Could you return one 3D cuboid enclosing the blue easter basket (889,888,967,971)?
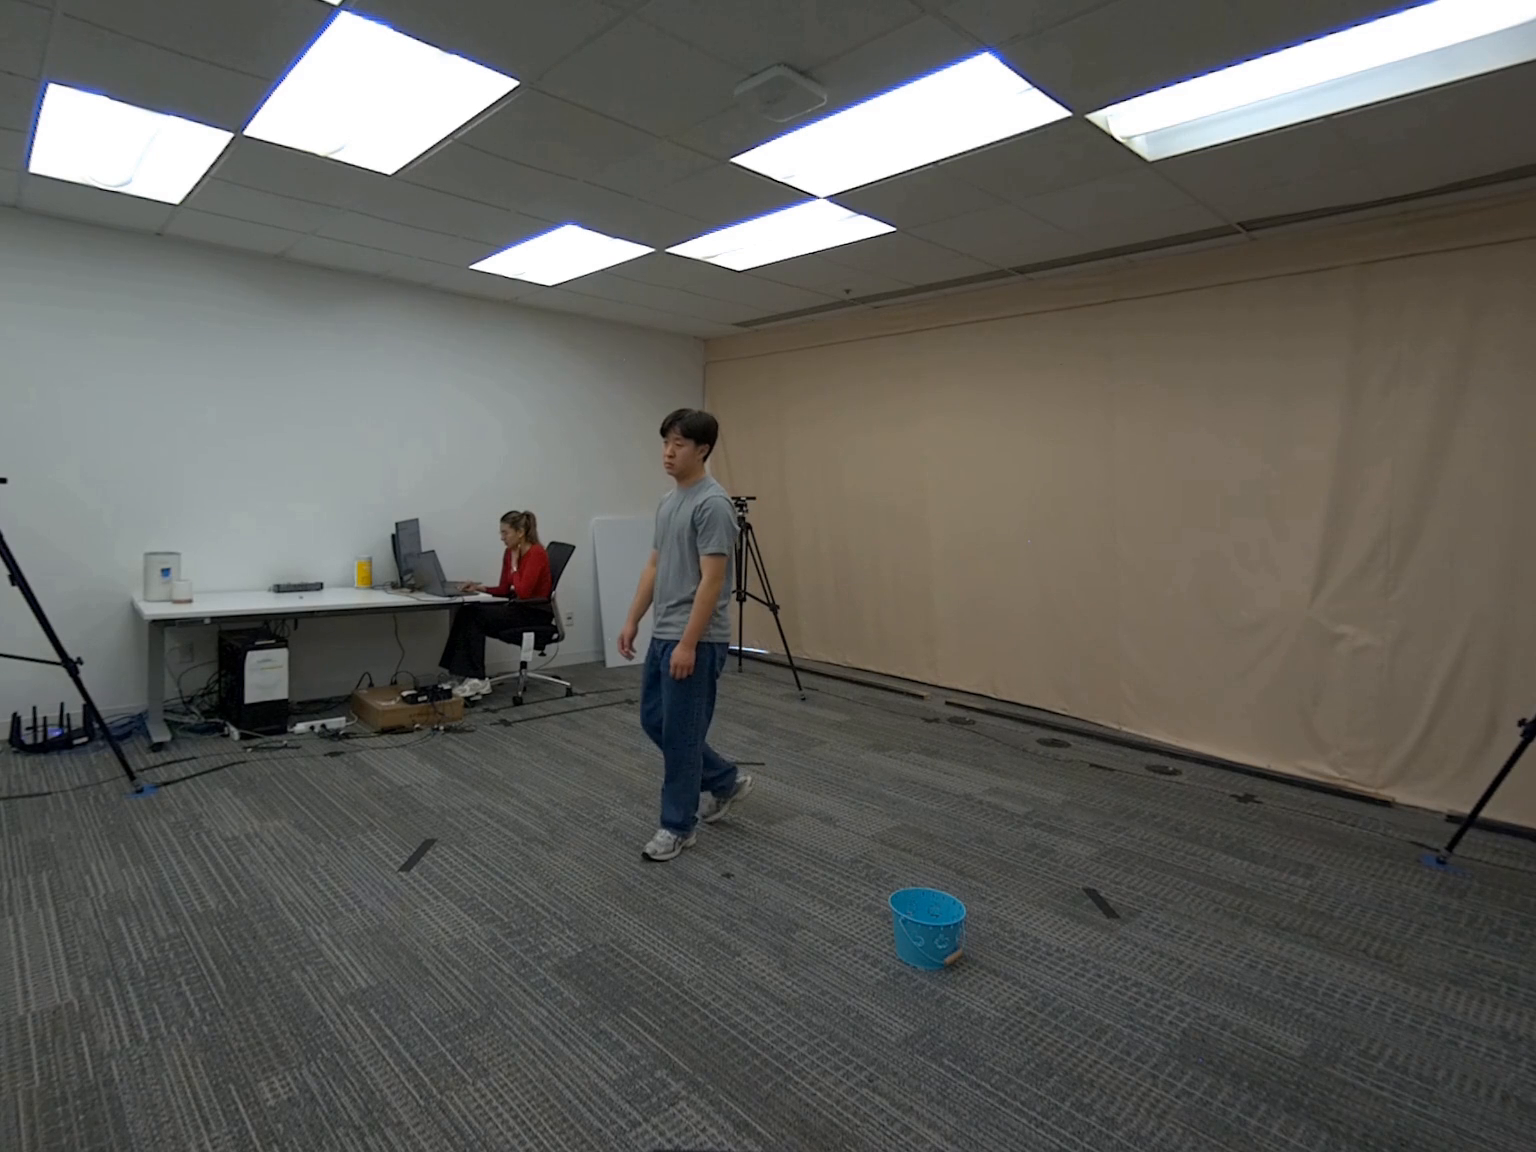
[{"bbox_3d":[0.481,1.088,2.594,0.243,0.155,0.244,1,4,-1],"label":"blue easter basket"}]
